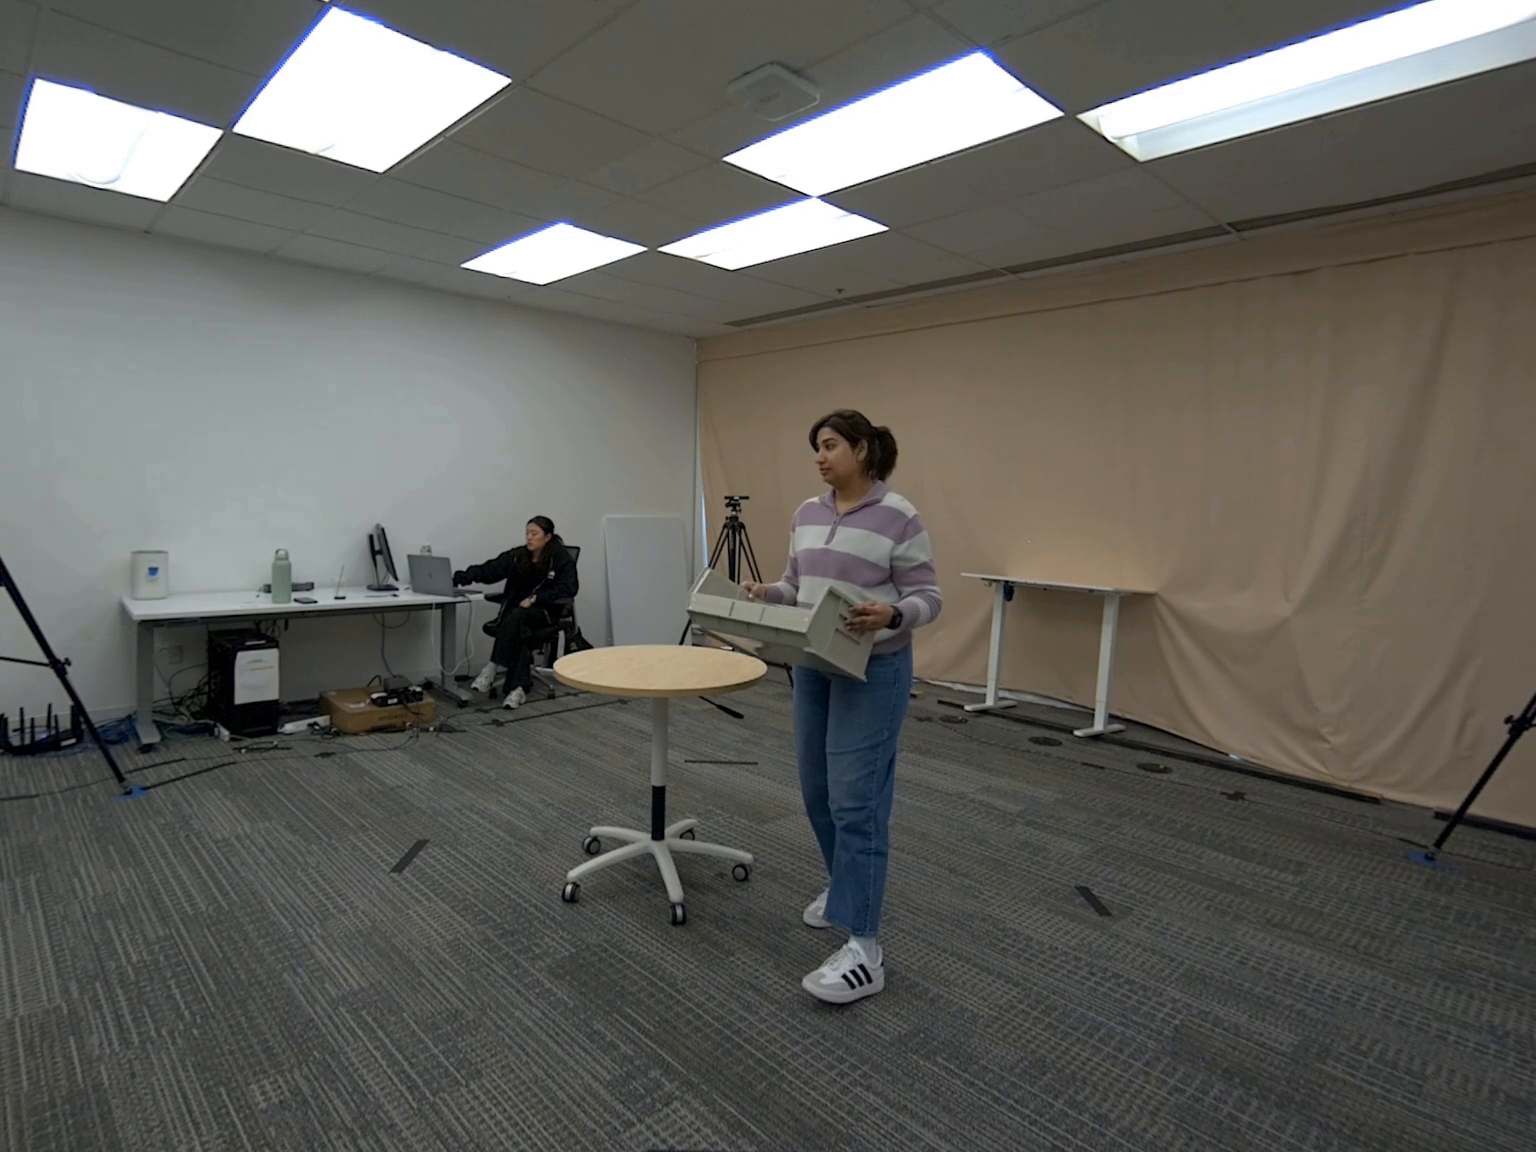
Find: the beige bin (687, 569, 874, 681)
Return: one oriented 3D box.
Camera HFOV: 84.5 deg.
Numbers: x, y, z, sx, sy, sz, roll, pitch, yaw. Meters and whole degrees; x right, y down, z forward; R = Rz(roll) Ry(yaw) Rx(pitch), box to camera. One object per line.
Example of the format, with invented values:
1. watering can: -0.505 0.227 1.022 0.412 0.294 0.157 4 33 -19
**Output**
1. beige bin: 0.037 0.133 2.356 0.433 0.190 0.365 8 -16 37
